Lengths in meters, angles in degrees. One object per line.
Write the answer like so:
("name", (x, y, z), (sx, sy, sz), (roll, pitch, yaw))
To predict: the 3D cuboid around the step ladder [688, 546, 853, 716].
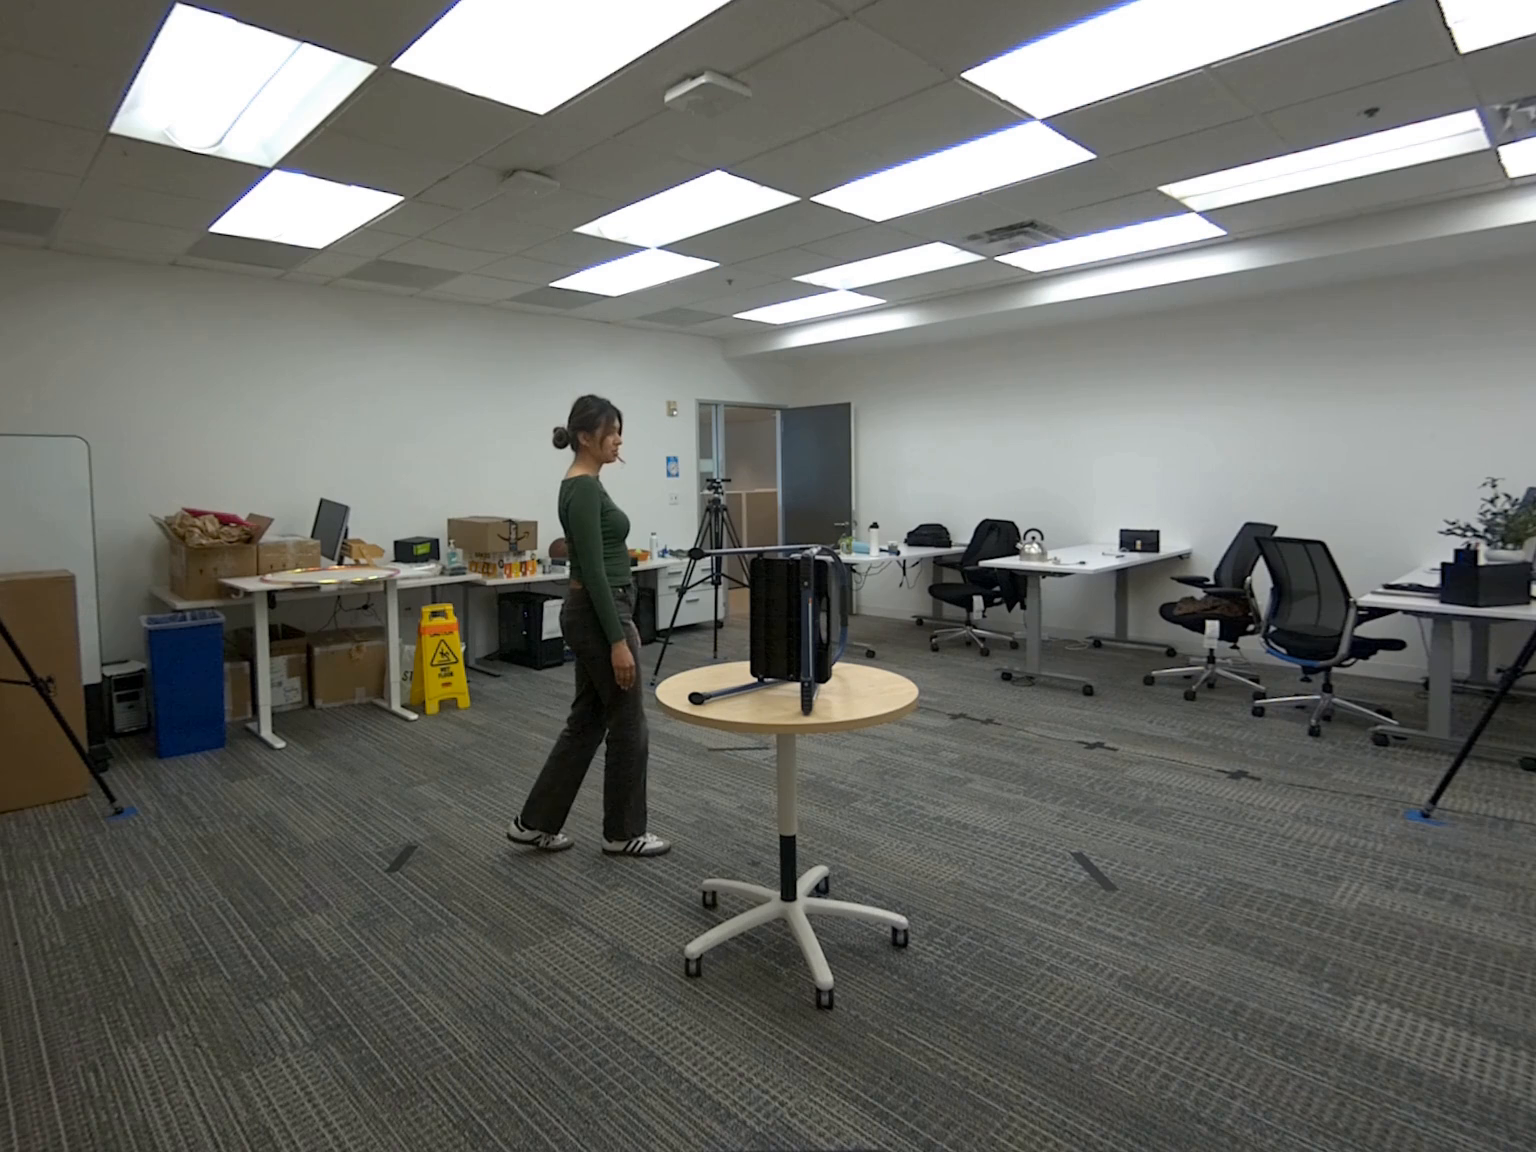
("step ladder", (0.060, 0.117, 2.528), (0.357, 0.429, 0.595), (2, 5, 23))
